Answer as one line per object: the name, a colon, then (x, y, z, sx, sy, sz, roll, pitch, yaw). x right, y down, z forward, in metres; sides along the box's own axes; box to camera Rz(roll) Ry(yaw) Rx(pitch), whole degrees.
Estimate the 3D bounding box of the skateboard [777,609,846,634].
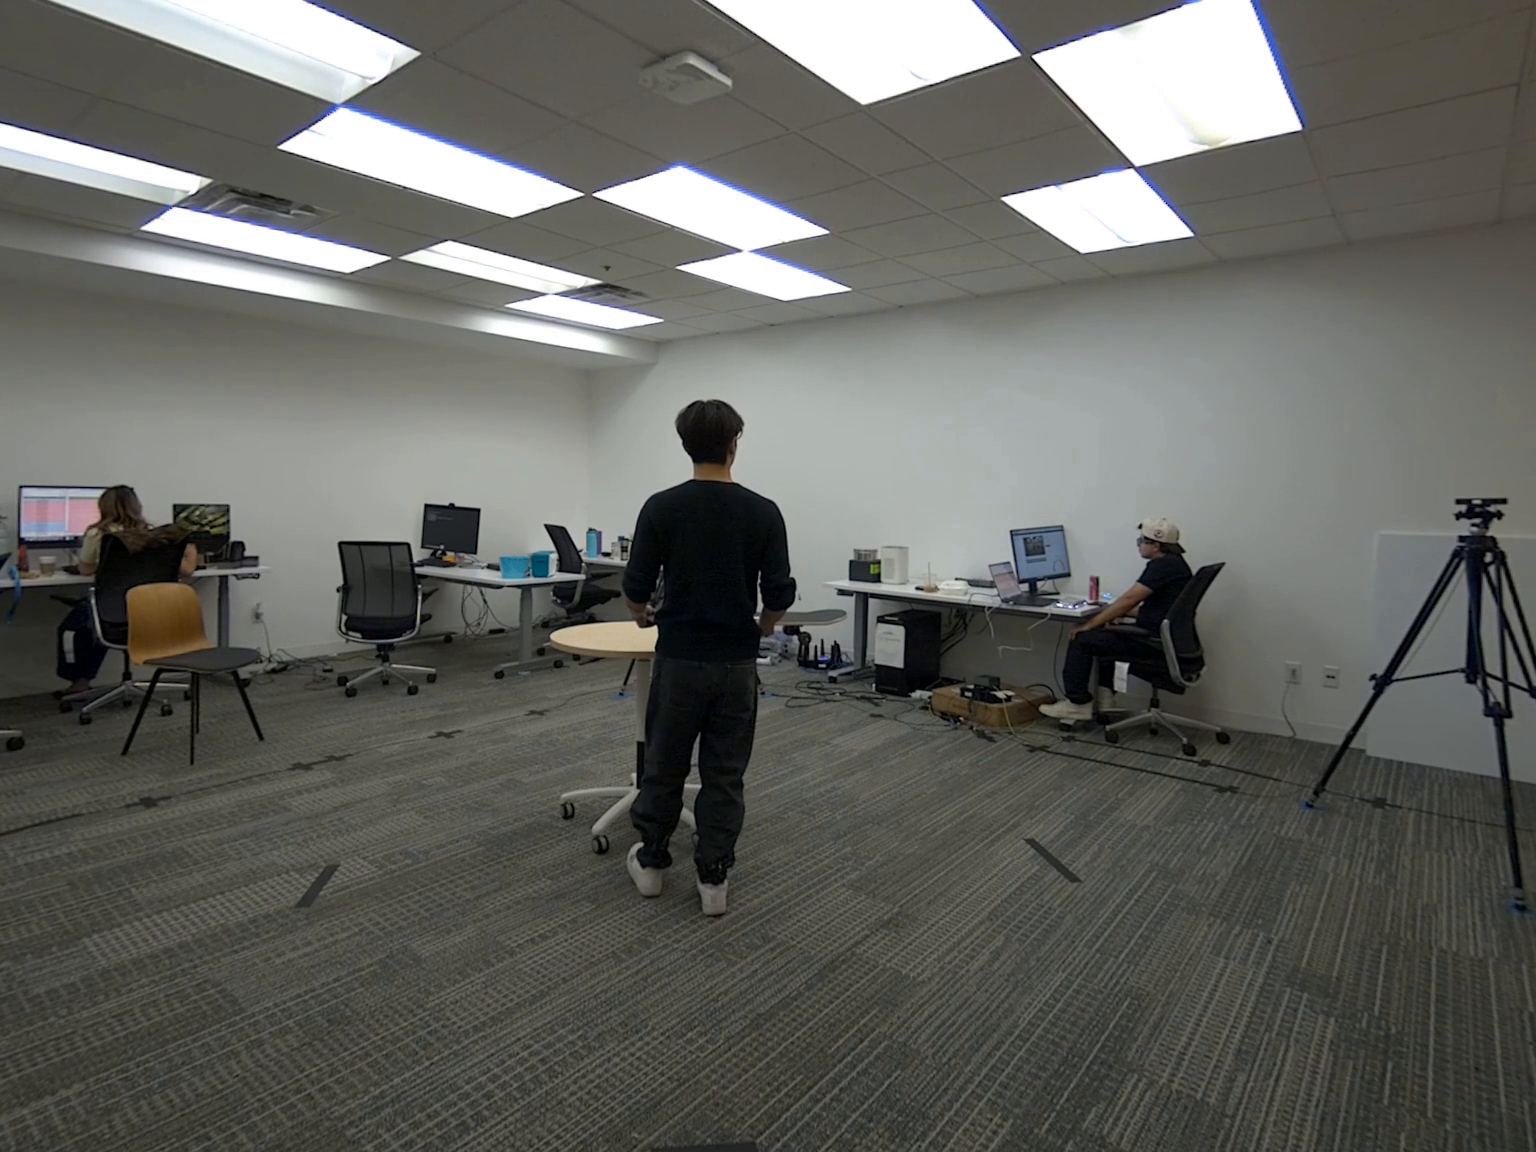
skateboard: (-0.105, 0.186, 3.150, 0.772, 0.109, 0.198, 0, 9, -16)
